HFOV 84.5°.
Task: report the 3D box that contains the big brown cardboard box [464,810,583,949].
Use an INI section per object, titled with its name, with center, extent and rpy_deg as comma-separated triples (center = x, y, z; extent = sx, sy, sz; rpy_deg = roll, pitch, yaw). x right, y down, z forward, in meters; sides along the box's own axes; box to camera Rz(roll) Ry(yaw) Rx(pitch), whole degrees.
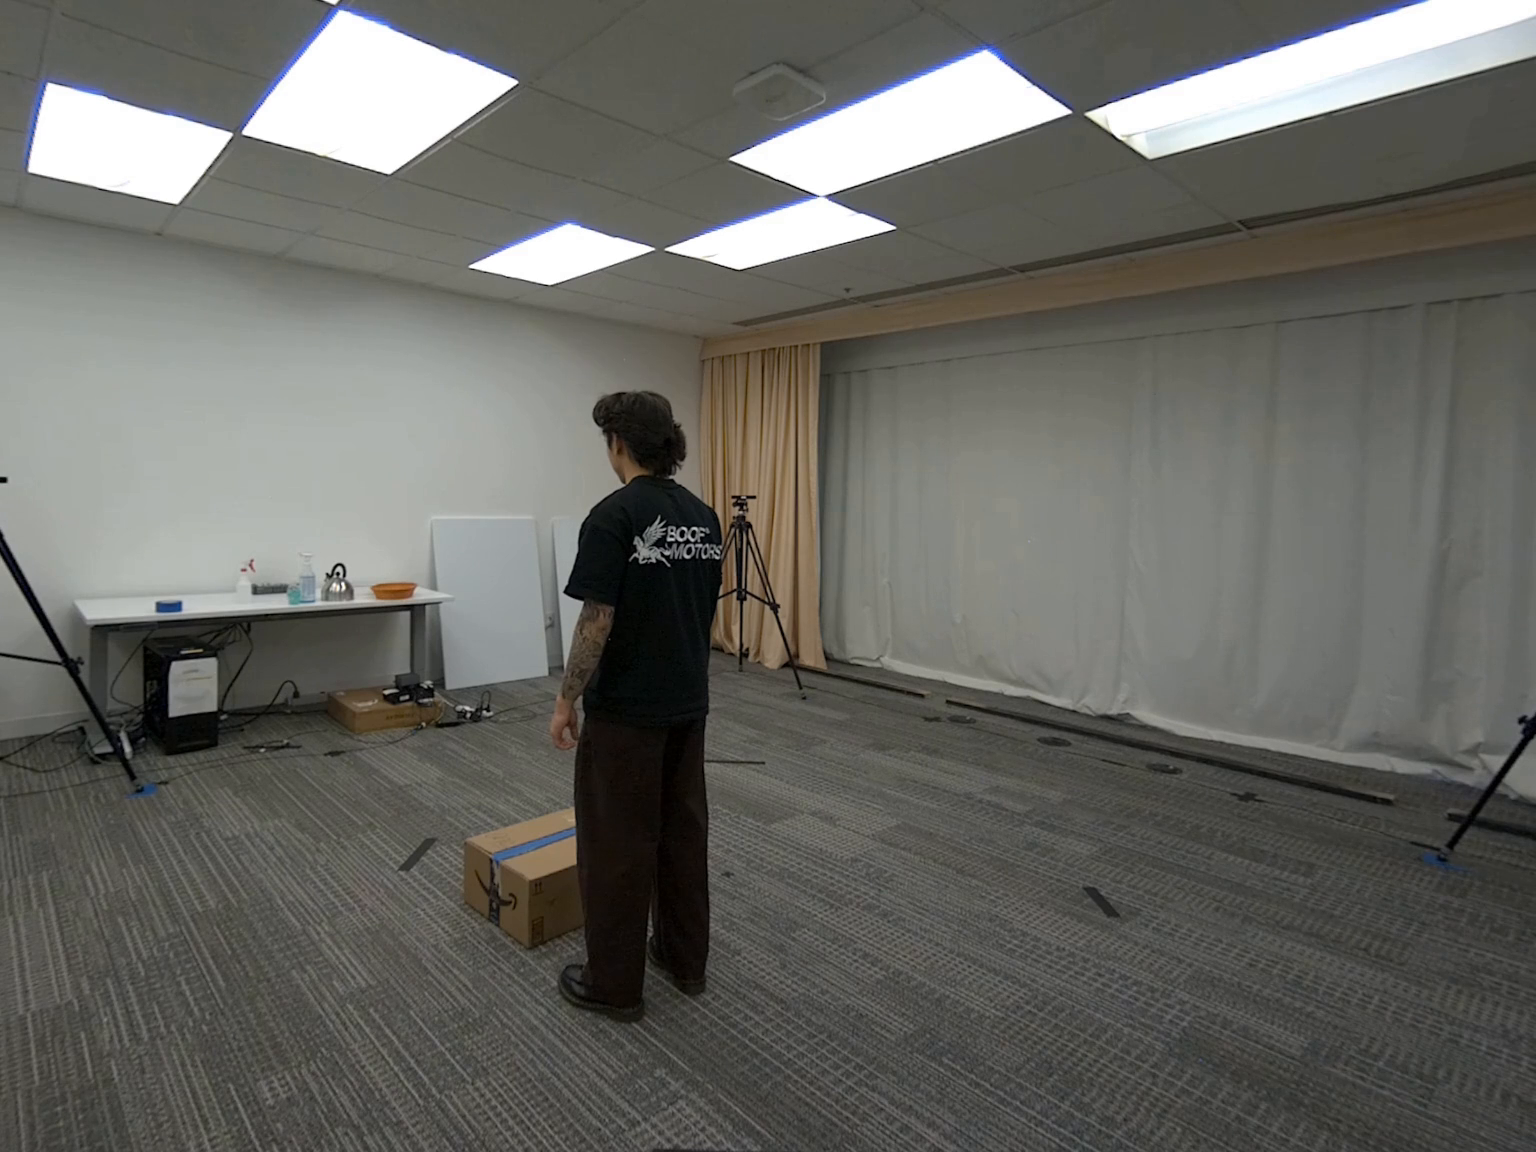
[big brown cardboard box]
center = -0.687, 0.995, 2.902
extent = 0.428, 0.232, 0.576
rpy_deg = 6, 8, 43
